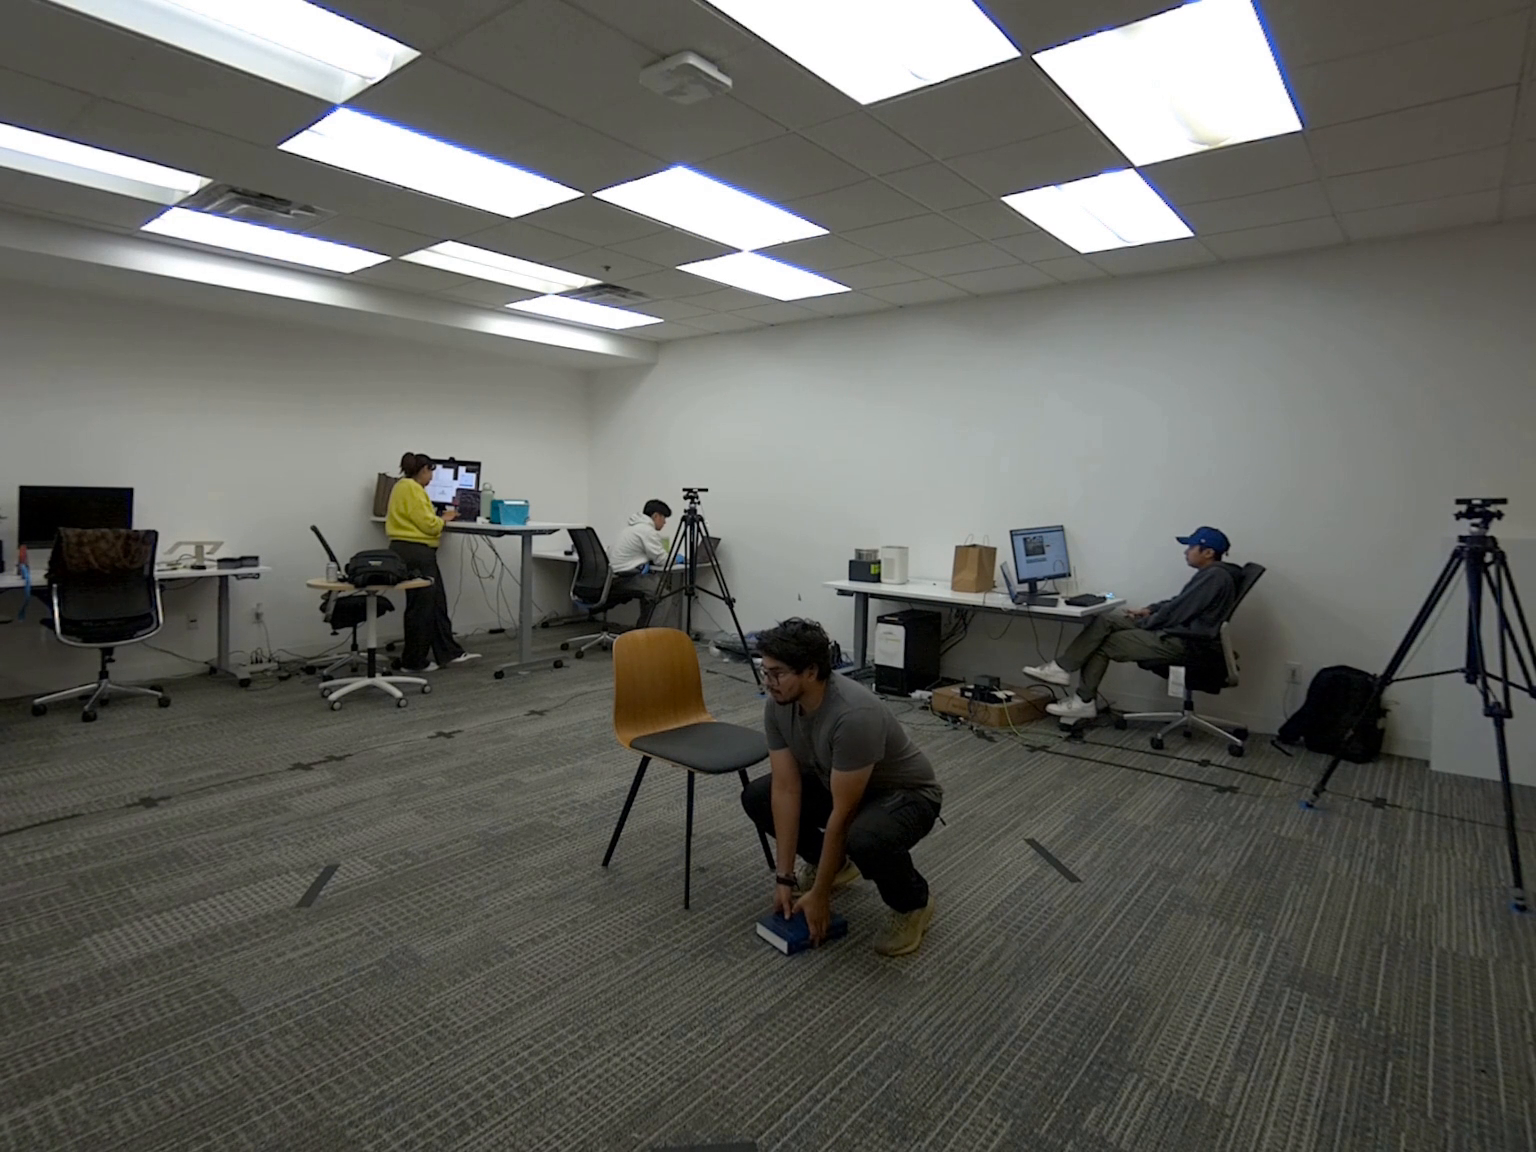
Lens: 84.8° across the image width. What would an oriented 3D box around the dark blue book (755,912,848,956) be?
[{"bbox_3d":[0.108,1.098,2.670,0.238,0.045,0.169,-5,7,-37],"label":"dark blue book"}]
